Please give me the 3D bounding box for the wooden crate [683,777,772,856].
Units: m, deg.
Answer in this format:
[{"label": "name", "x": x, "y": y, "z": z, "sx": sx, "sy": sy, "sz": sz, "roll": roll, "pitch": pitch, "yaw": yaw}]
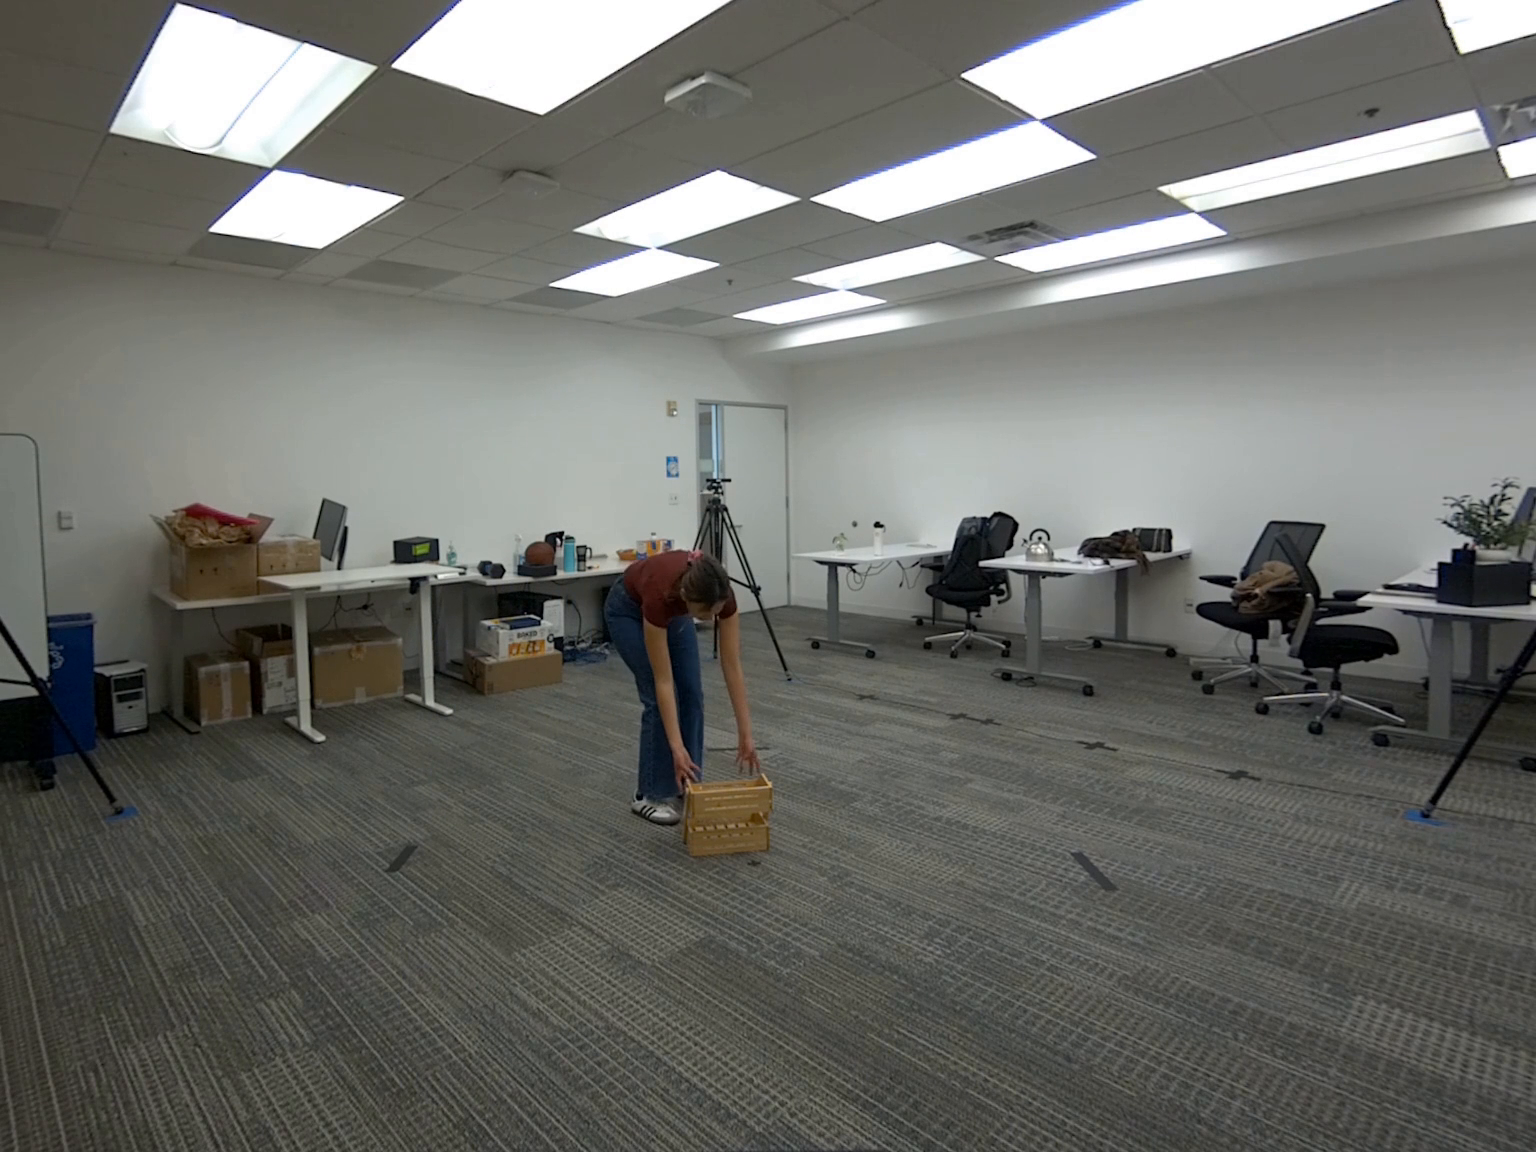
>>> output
[{"label": "wooden crate", "x": -0.162, "y": 0.891, "z": 3.281, "sx": 0.321, "sy": 0.272, "sz": 0.307, "roll": -2, "pitch": 5, "yaw": -12}]
